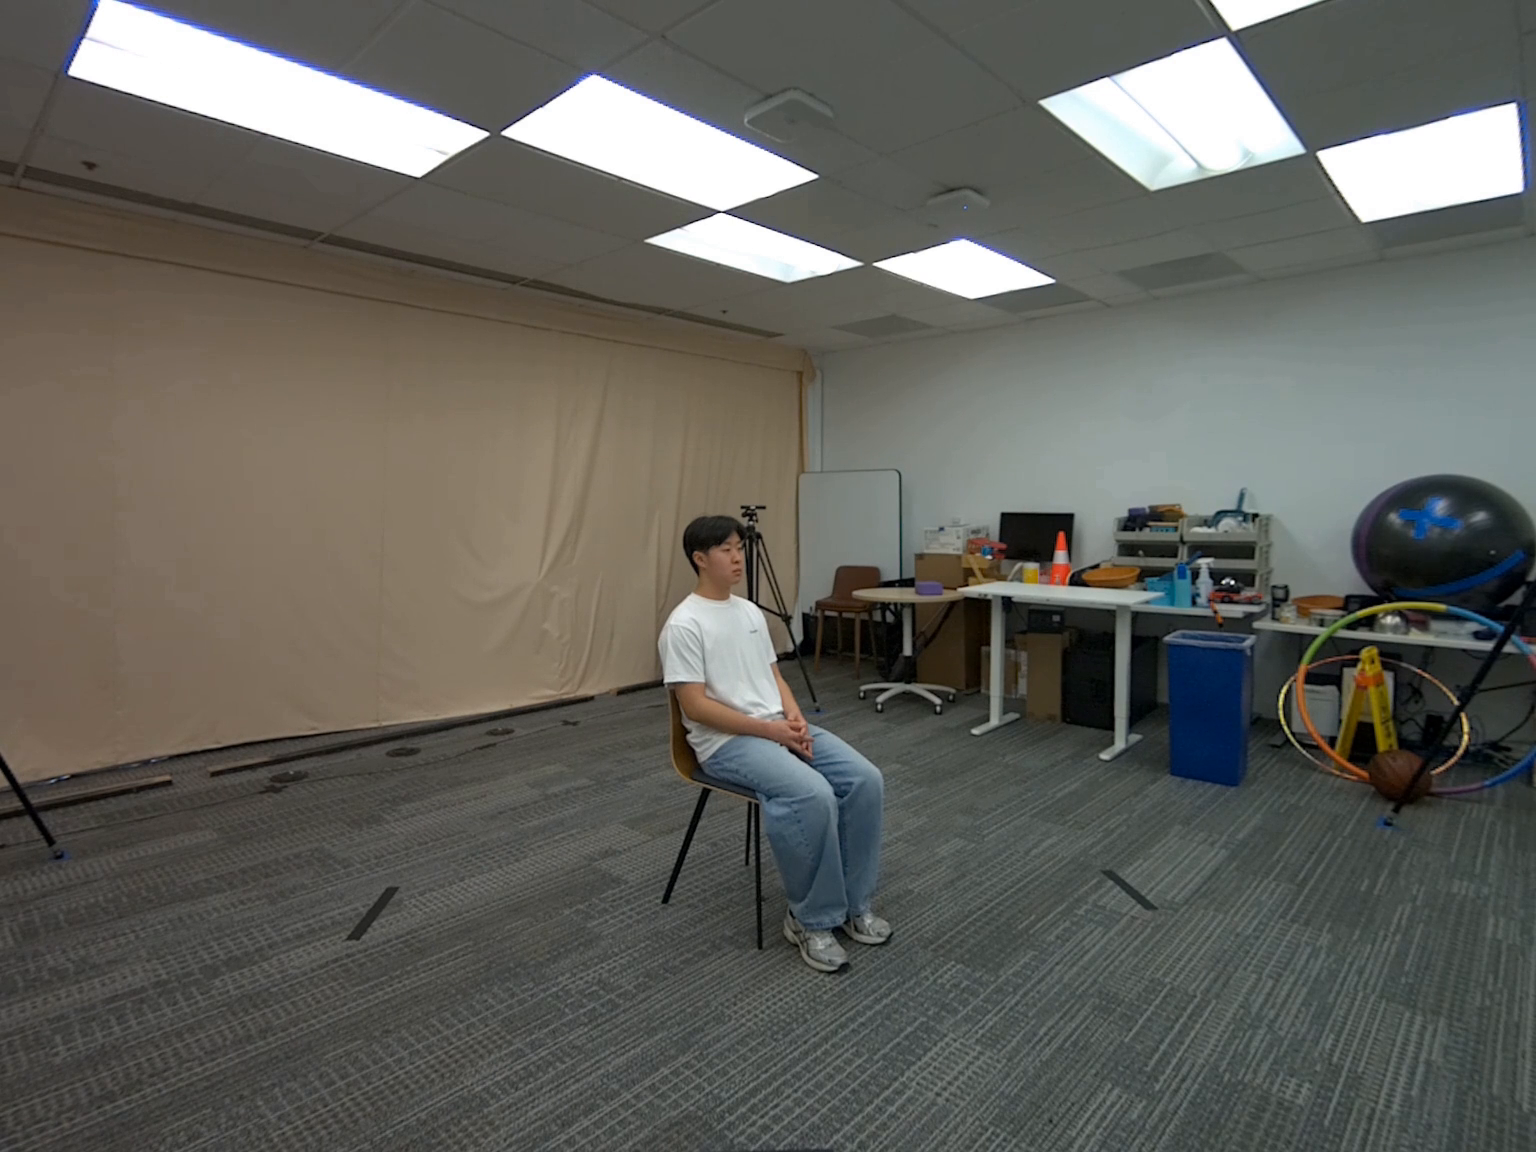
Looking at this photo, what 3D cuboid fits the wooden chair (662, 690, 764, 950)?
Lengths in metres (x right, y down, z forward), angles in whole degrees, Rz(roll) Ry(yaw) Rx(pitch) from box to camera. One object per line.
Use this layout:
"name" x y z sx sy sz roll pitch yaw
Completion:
"wooden chair" -0.053 0.722 2.929 0.539 0.877 0.464 -4 1 42
